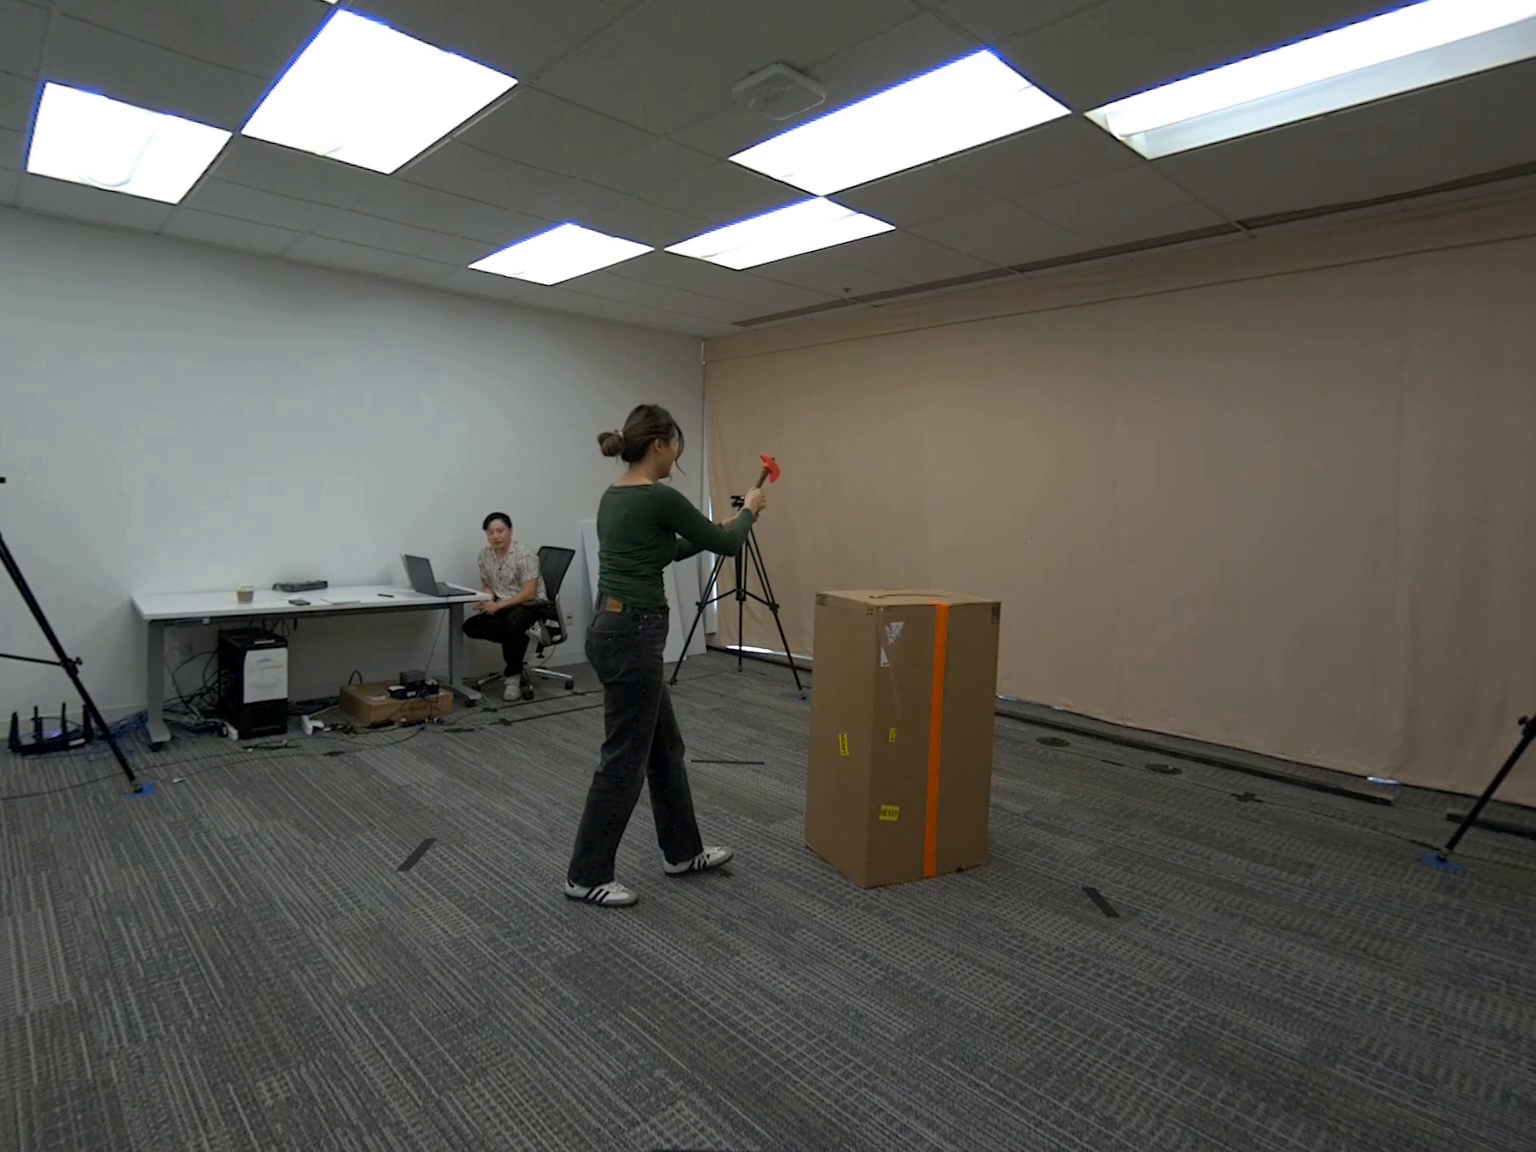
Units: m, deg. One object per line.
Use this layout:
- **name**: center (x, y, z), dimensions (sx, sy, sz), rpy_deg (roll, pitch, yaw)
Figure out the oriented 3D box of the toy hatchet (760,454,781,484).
- **toy hatchet**: center (-0.015, -0.318, 3.195), dimensions (0.030, 0.271, 0.127), rpy_deg (10, -6, 41)
